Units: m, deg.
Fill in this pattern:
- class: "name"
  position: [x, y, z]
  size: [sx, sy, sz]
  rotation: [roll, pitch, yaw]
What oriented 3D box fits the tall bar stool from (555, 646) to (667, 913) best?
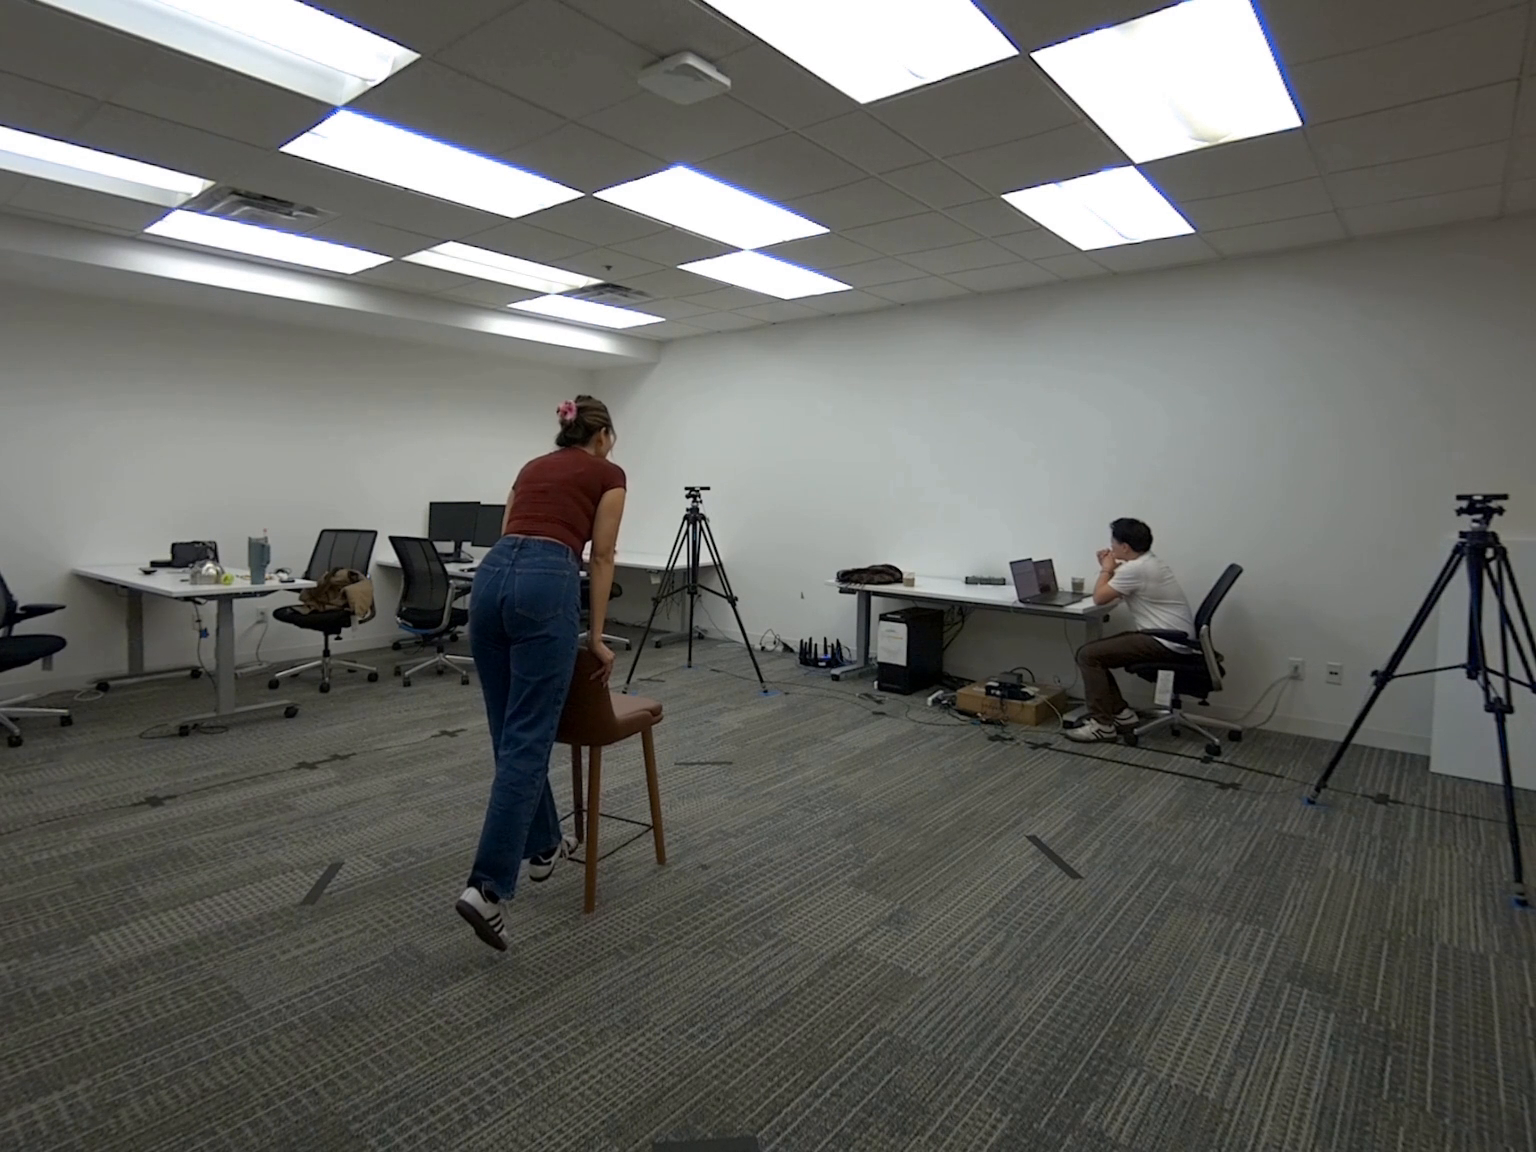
- class: "tall bar stool"
  position: [-0.662, 0.631, 3.017]
  size: [0.469, 0.886, 0.457]
  rotation: [2, 5, 27]
